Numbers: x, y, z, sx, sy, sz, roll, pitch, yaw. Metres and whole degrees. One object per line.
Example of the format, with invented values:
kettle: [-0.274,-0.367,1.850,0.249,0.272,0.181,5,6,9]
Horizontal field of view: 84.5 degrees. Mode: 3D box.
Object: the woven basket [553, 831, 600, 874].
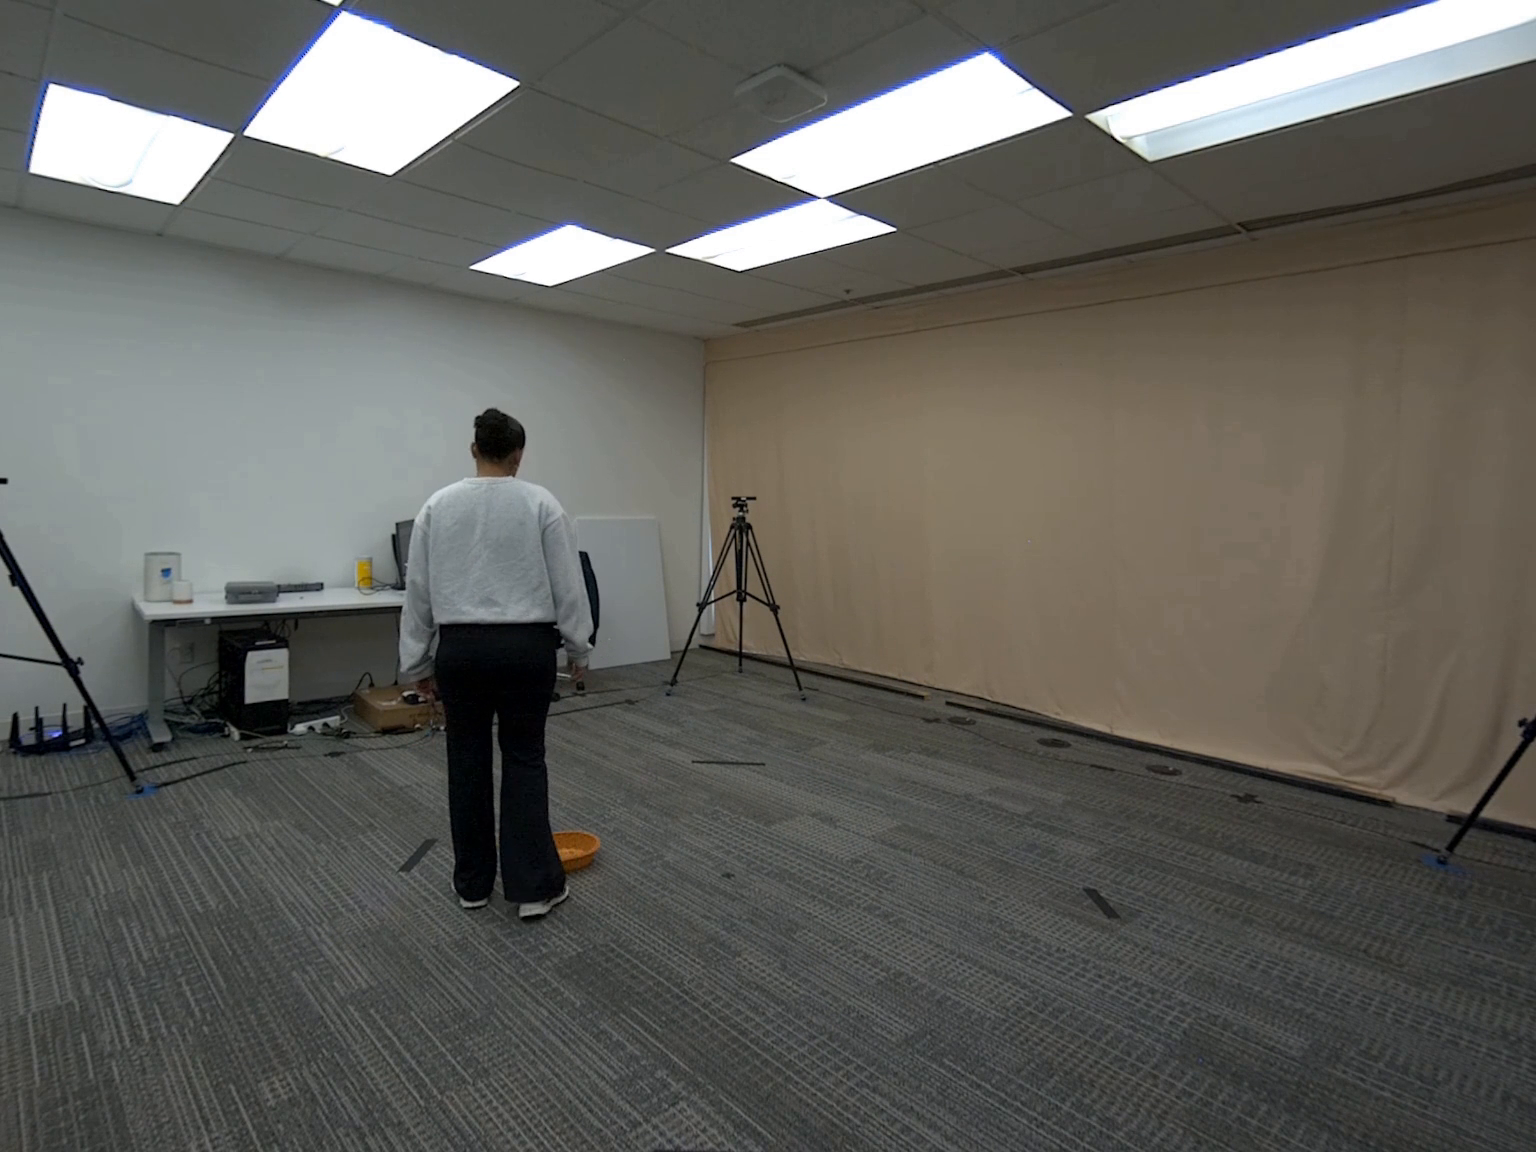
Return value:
woven basket: [-0.806,1.047,3.168,0.343,0.073,0.258,-2,7,-33]
